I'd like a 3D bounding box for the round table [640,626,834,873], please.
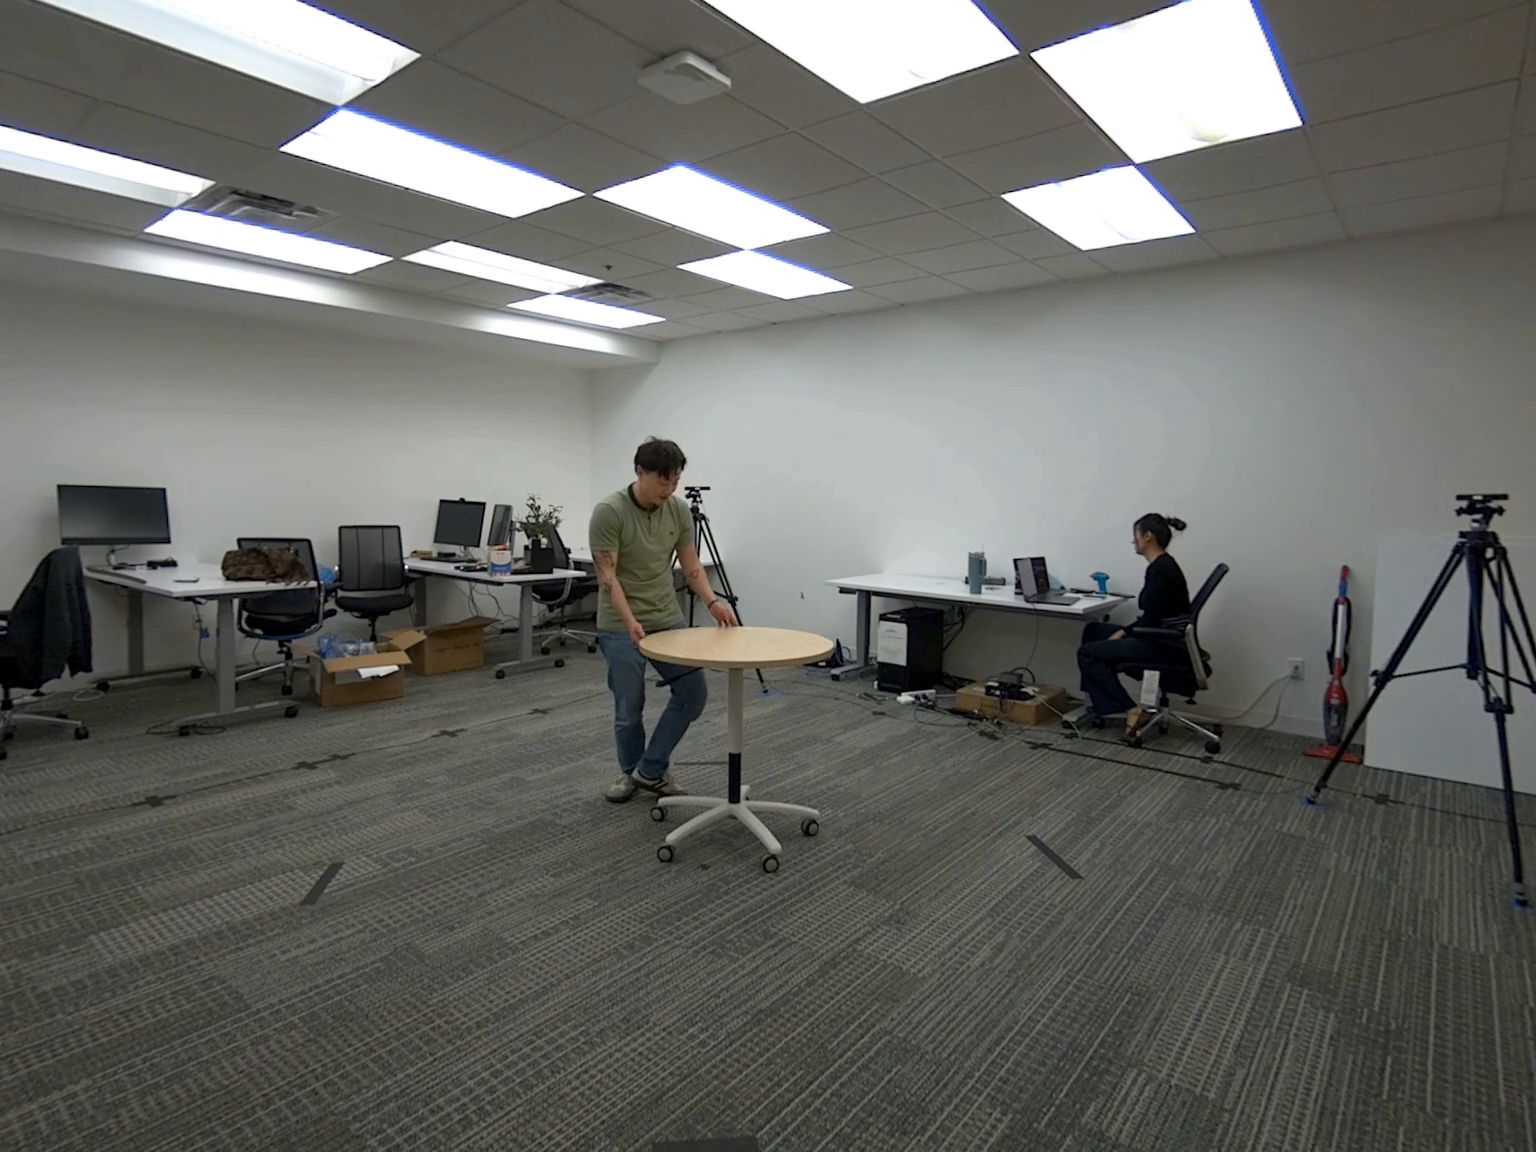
[{"bbox_3d":[-0.142,0.651,3.374,0.763,0.791,0.768,0,4,-2],"label":"round table"}]
